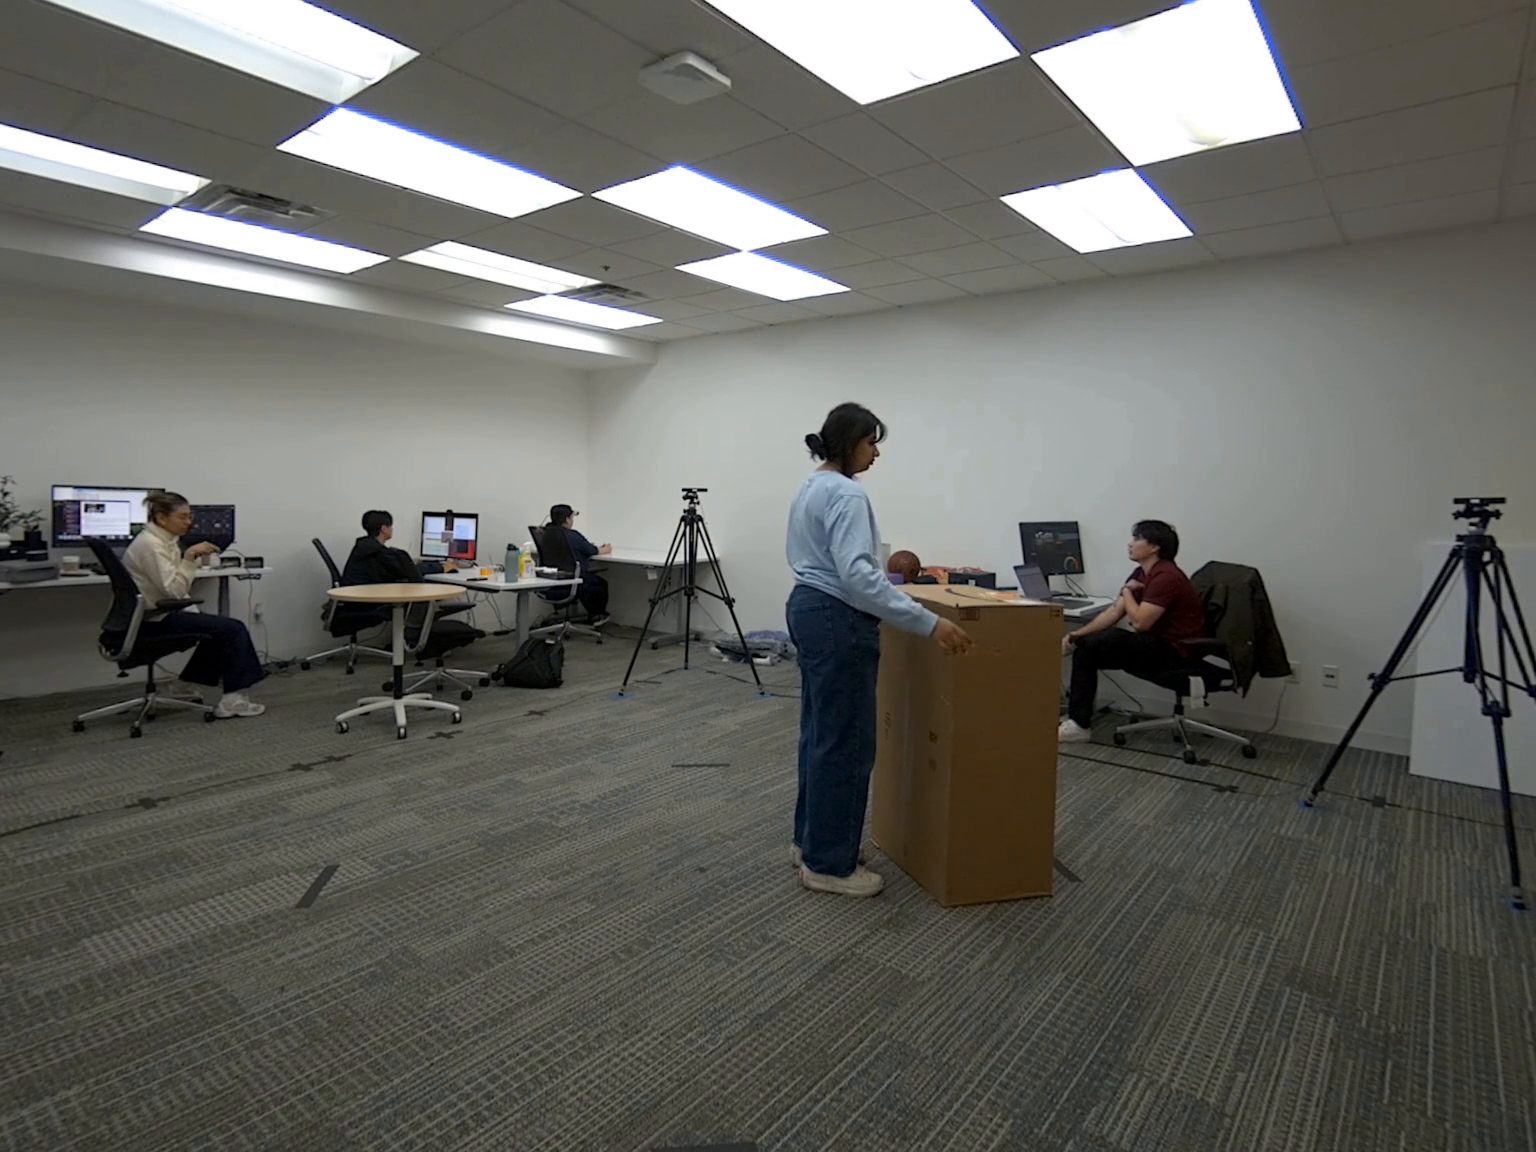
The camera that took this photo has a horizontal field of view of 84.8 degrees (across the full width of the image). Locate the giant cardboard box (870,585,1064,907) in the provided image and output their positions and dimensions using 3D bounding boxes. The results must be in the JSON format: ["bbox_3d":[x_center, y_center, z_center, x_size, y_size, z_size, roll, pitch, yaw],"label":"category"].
[{"bbox_3d":[0.710,0.575,3.158,0.419,1.023,0.590,0,4,-18],"label":"giant cardboard box"}]
